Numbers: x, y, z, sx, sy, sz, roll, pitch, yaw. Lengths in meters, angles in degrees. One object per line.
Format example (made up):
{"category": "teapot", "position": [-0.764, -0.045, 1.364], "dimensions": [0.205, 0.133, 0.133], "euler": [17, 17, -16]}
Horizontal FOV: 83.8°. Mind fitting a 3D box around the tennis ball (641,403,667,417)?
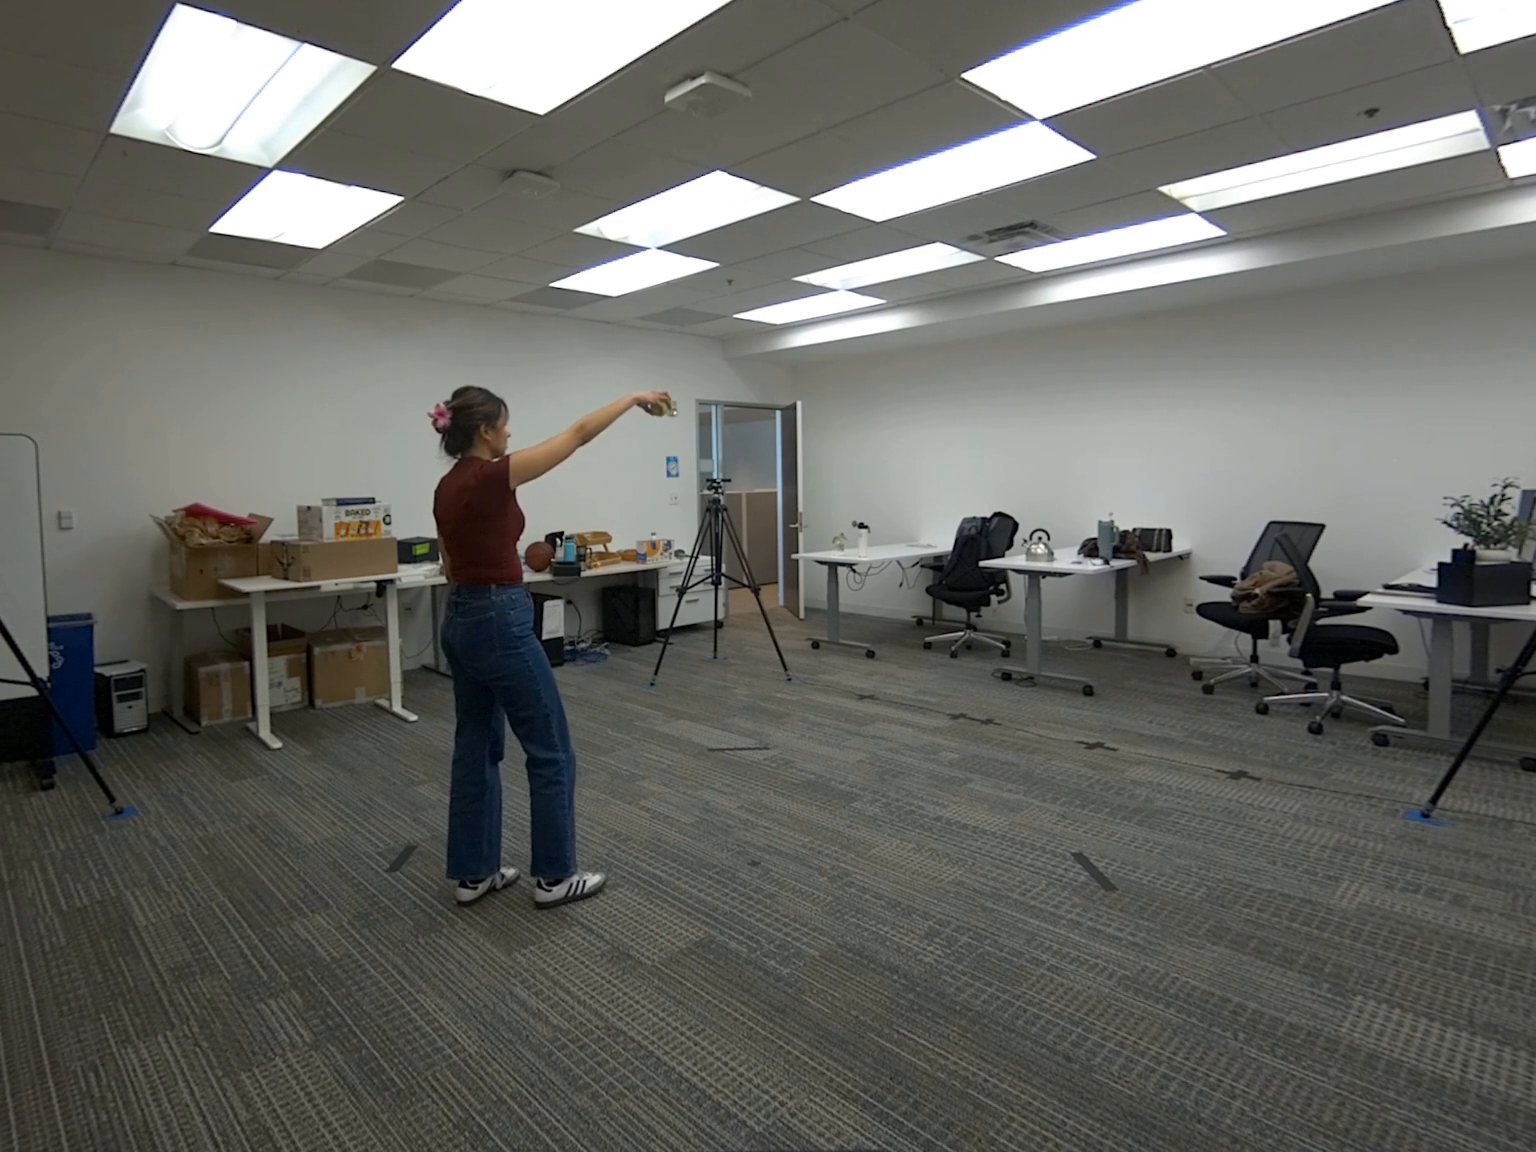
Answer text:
{"category": "tennis ball", "position": [-0.387, -0.571, 3.058], "dimensions": [0.066, 0.066, 0.067], "euler": [-1, 5, -2]}
